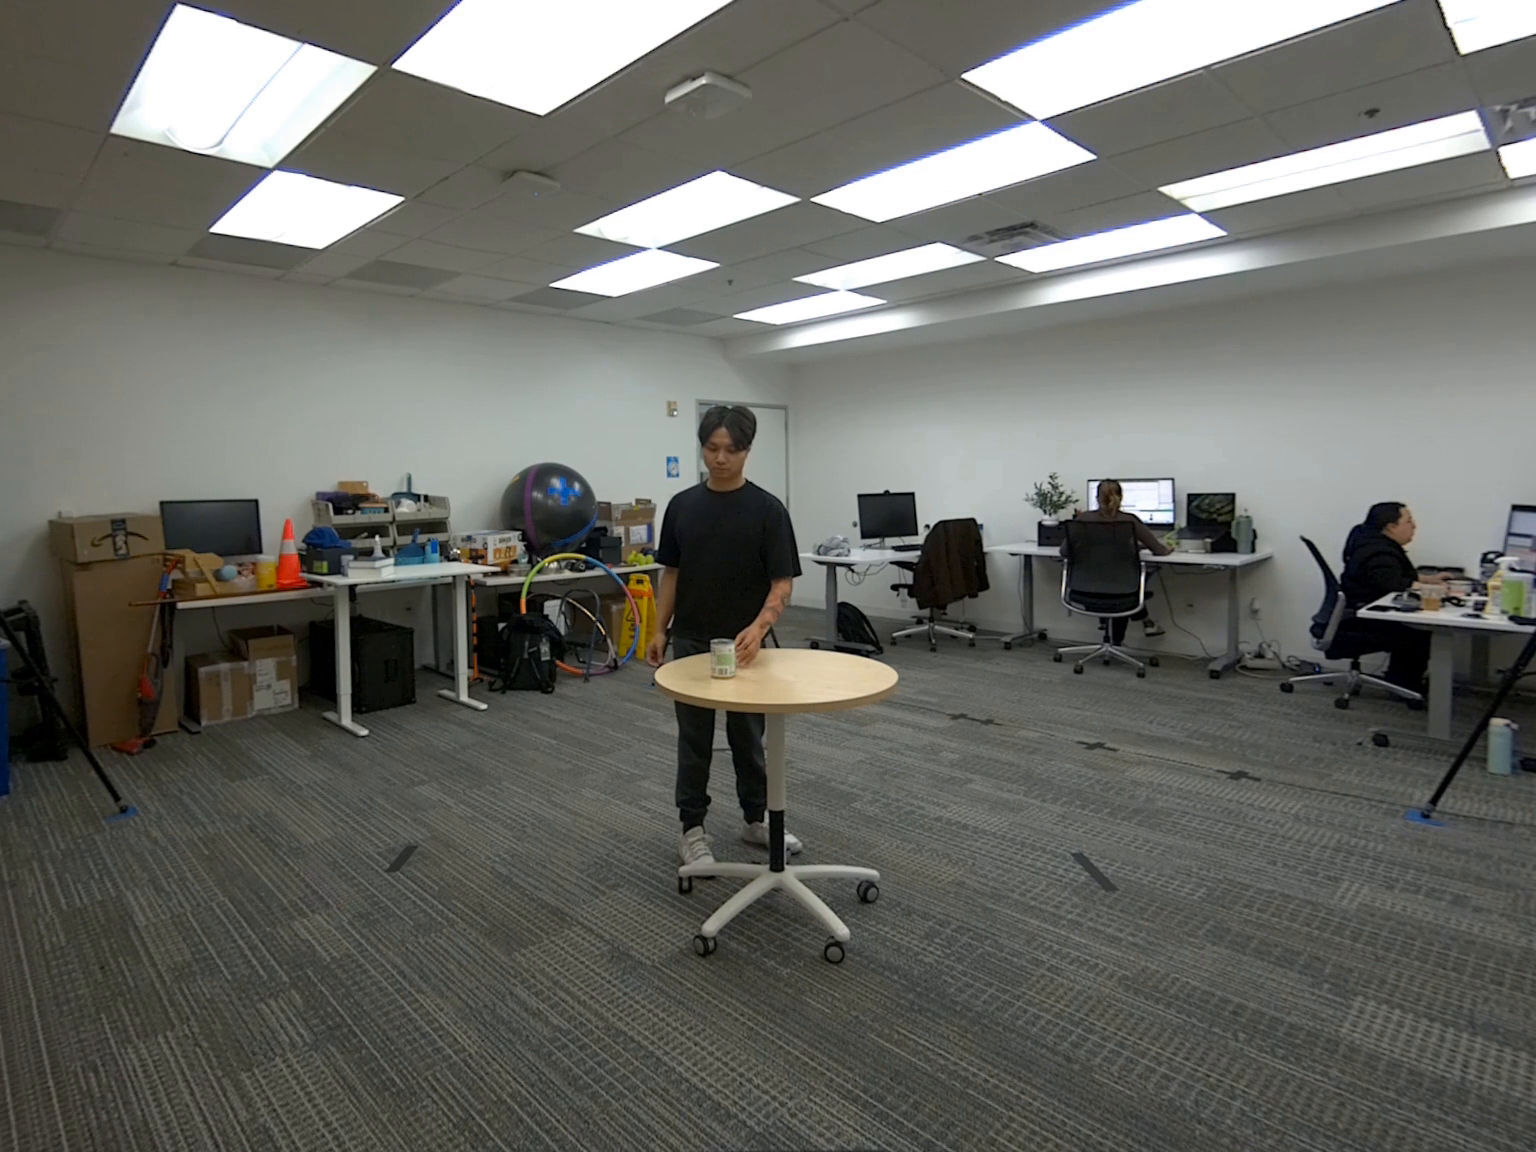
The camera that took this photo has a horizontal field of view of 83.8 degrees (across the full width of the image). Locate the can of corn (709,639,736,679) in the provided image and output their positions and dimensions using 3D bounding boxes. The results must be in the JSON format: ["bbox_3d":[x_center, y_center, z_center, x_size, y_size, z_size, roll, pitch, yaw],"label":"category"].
[{"bbox_3d":[-0.144,0.262,2.651,0.074,0.110,0.074,-4,5,-1],"label":"can of corn"}]
